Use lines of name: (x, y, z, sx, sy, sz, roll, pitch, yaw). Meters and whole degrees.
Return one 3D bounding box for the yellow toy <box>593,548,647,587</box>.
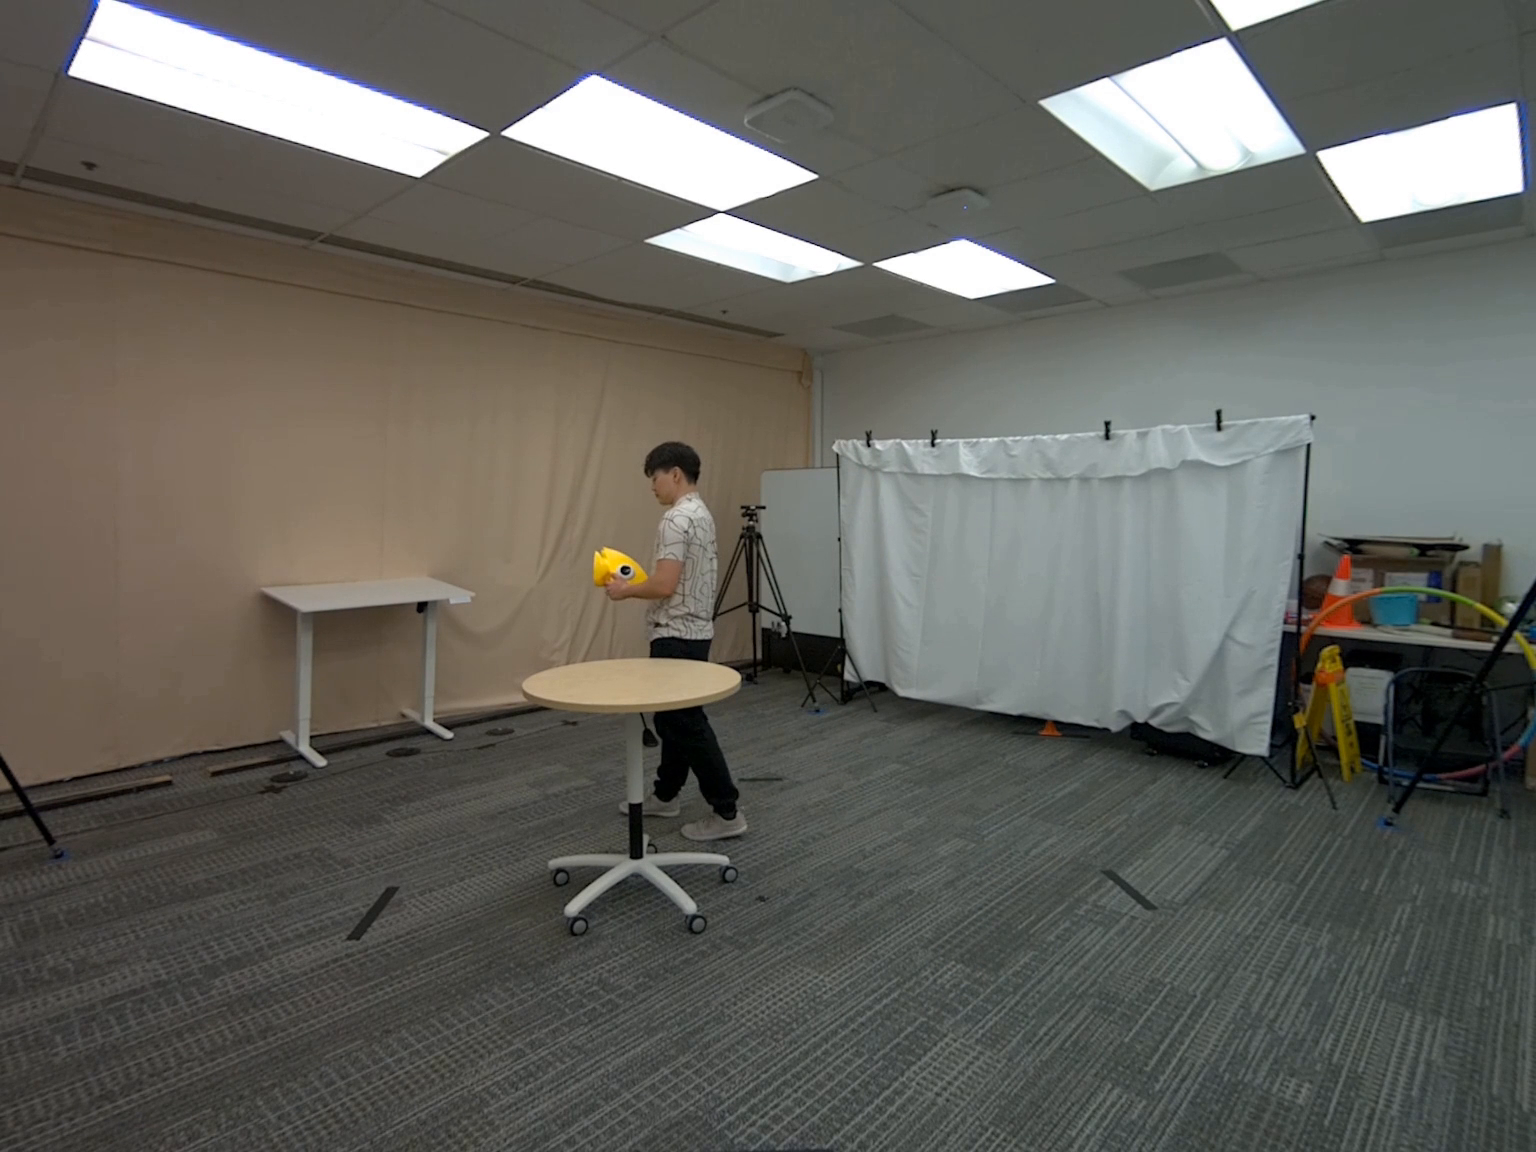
yellow toy: (-0.617, -0.019, 3.670, 0.232, 0.192, 0.204, 2, 11, 6)
